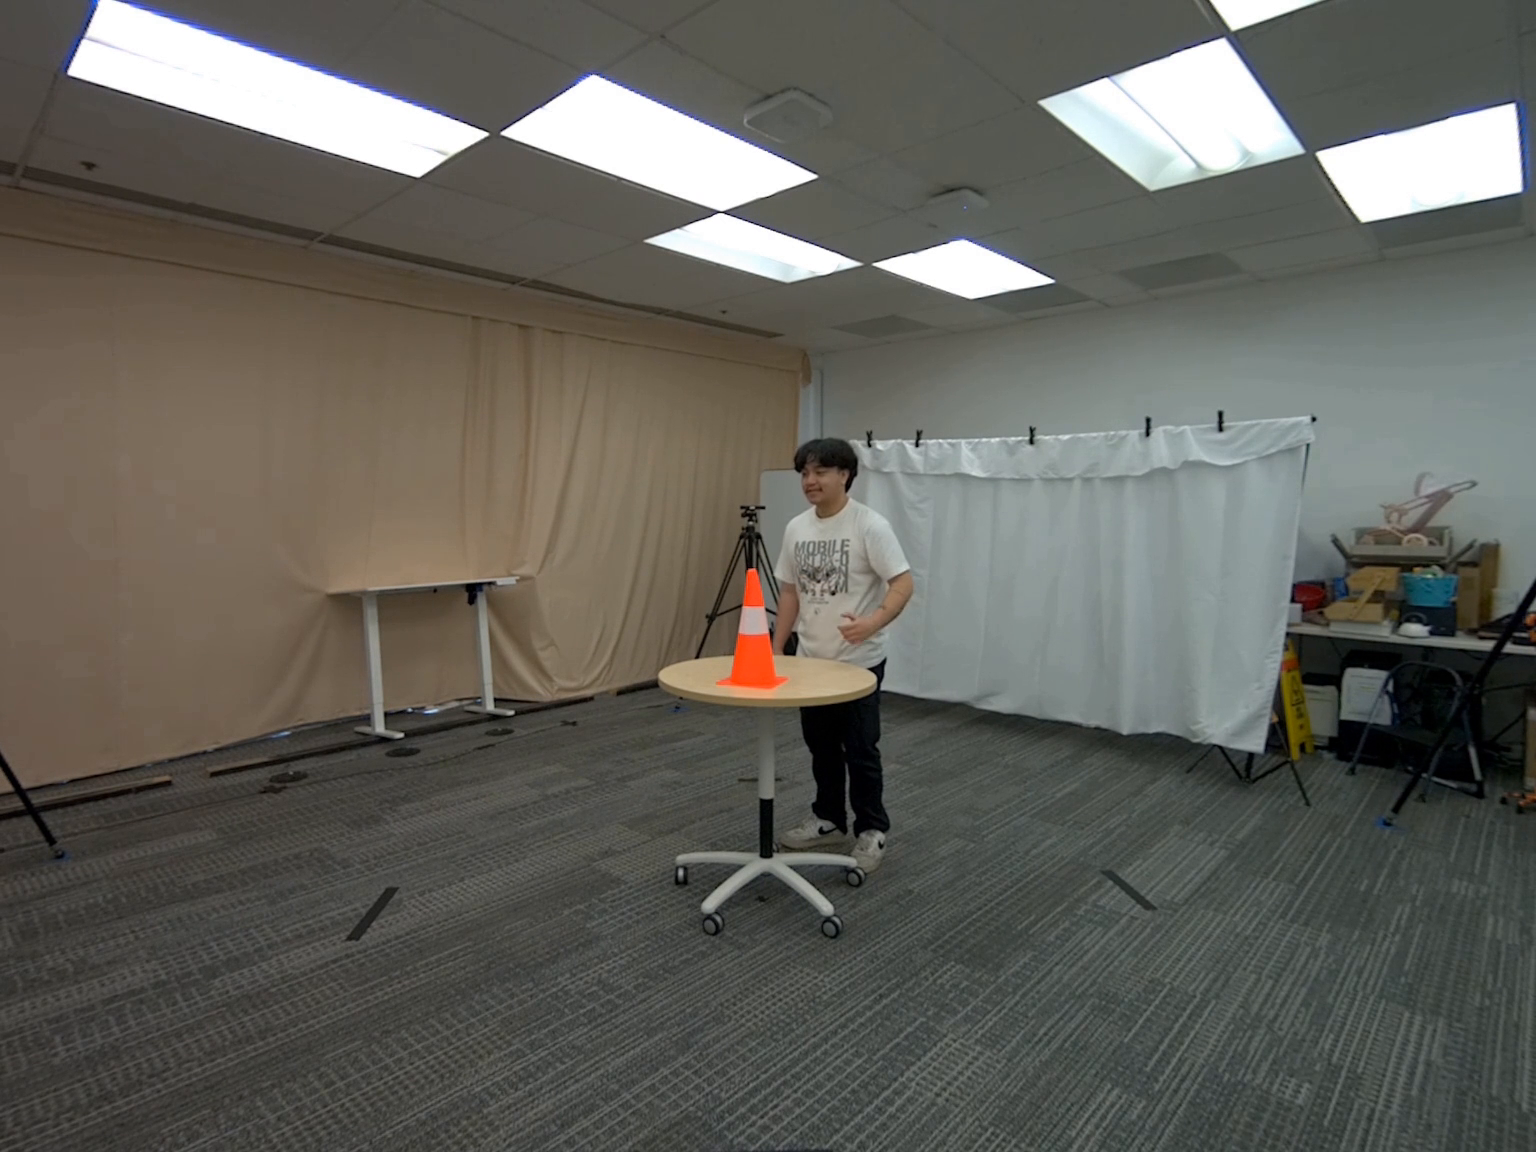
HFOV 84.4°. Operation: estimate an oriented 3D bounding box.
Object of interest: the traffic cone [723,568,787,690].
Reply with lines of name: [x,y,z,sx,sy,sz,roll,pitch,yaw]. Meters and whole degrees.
traffic cone: [-0.046,0.172,2.846,0.210,0.383,0.199,0,3,23]
